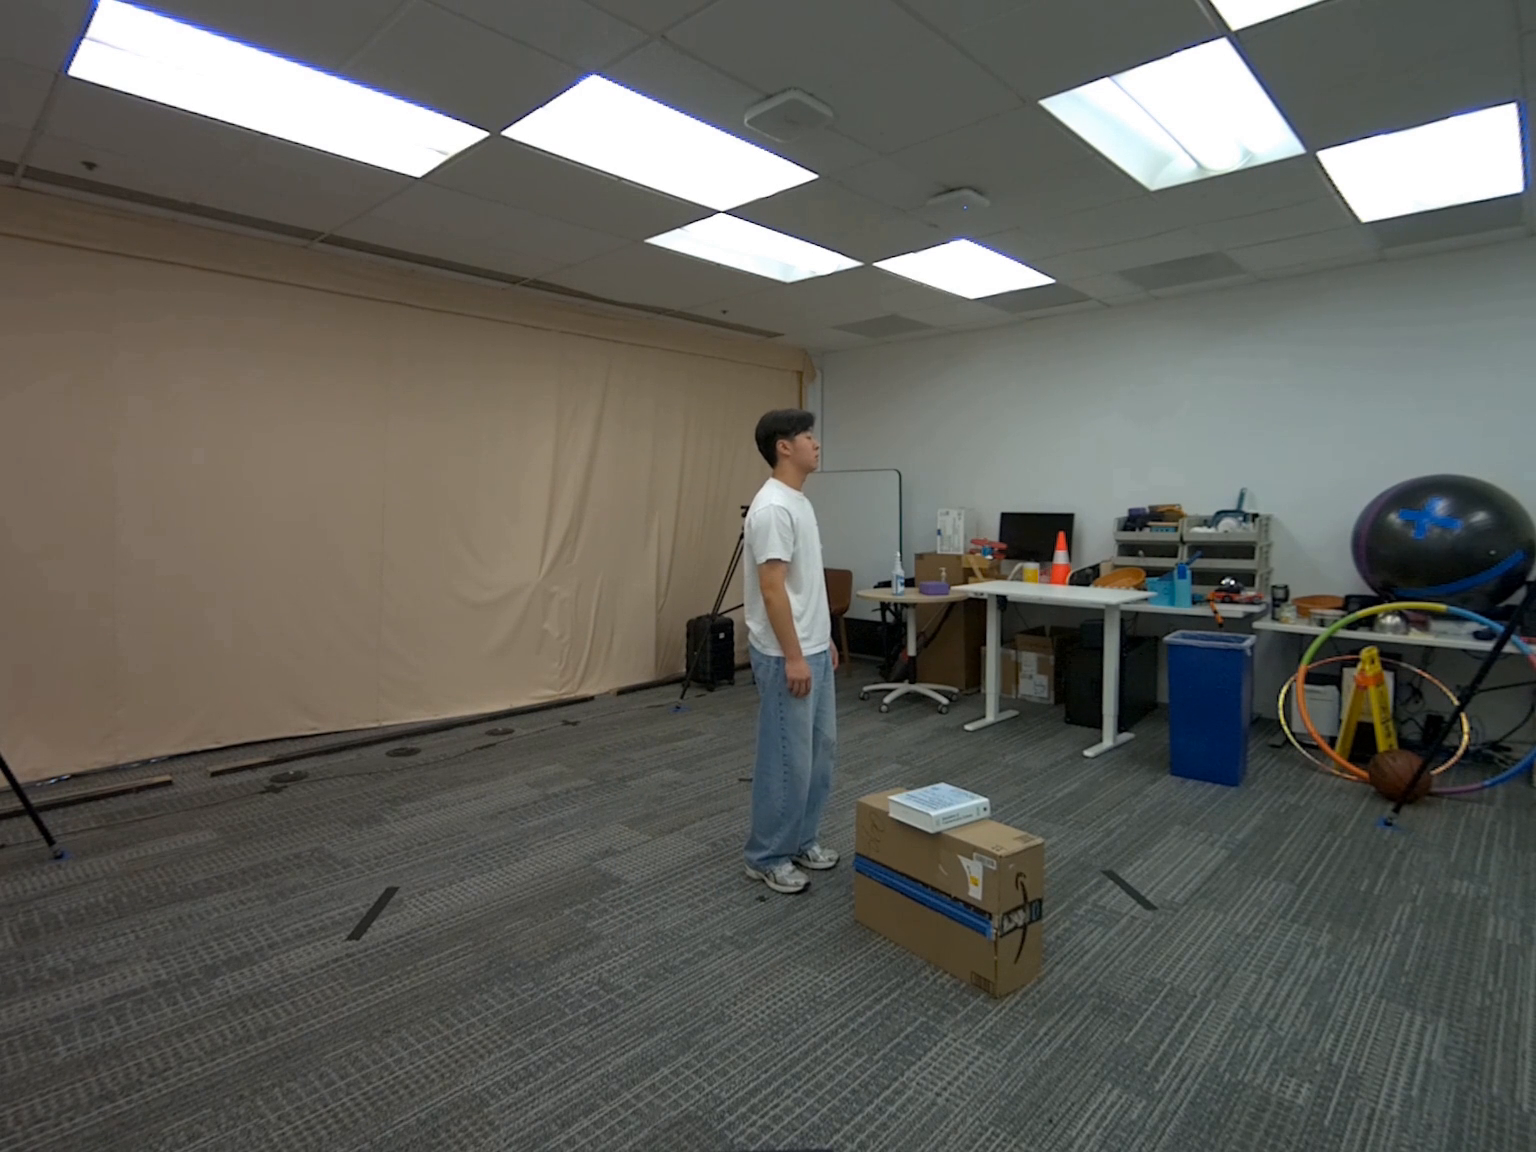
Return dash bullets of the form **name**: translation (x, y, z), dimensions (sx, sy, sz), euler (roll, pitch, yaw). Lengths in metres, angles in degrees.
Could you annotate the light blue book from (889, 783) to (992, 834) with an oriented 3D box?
- **light blue book**: translation (0.544, 0.728, 2.638), dimensions (0.253, 0.059, 0.197), euler (-3, 5, -36)
